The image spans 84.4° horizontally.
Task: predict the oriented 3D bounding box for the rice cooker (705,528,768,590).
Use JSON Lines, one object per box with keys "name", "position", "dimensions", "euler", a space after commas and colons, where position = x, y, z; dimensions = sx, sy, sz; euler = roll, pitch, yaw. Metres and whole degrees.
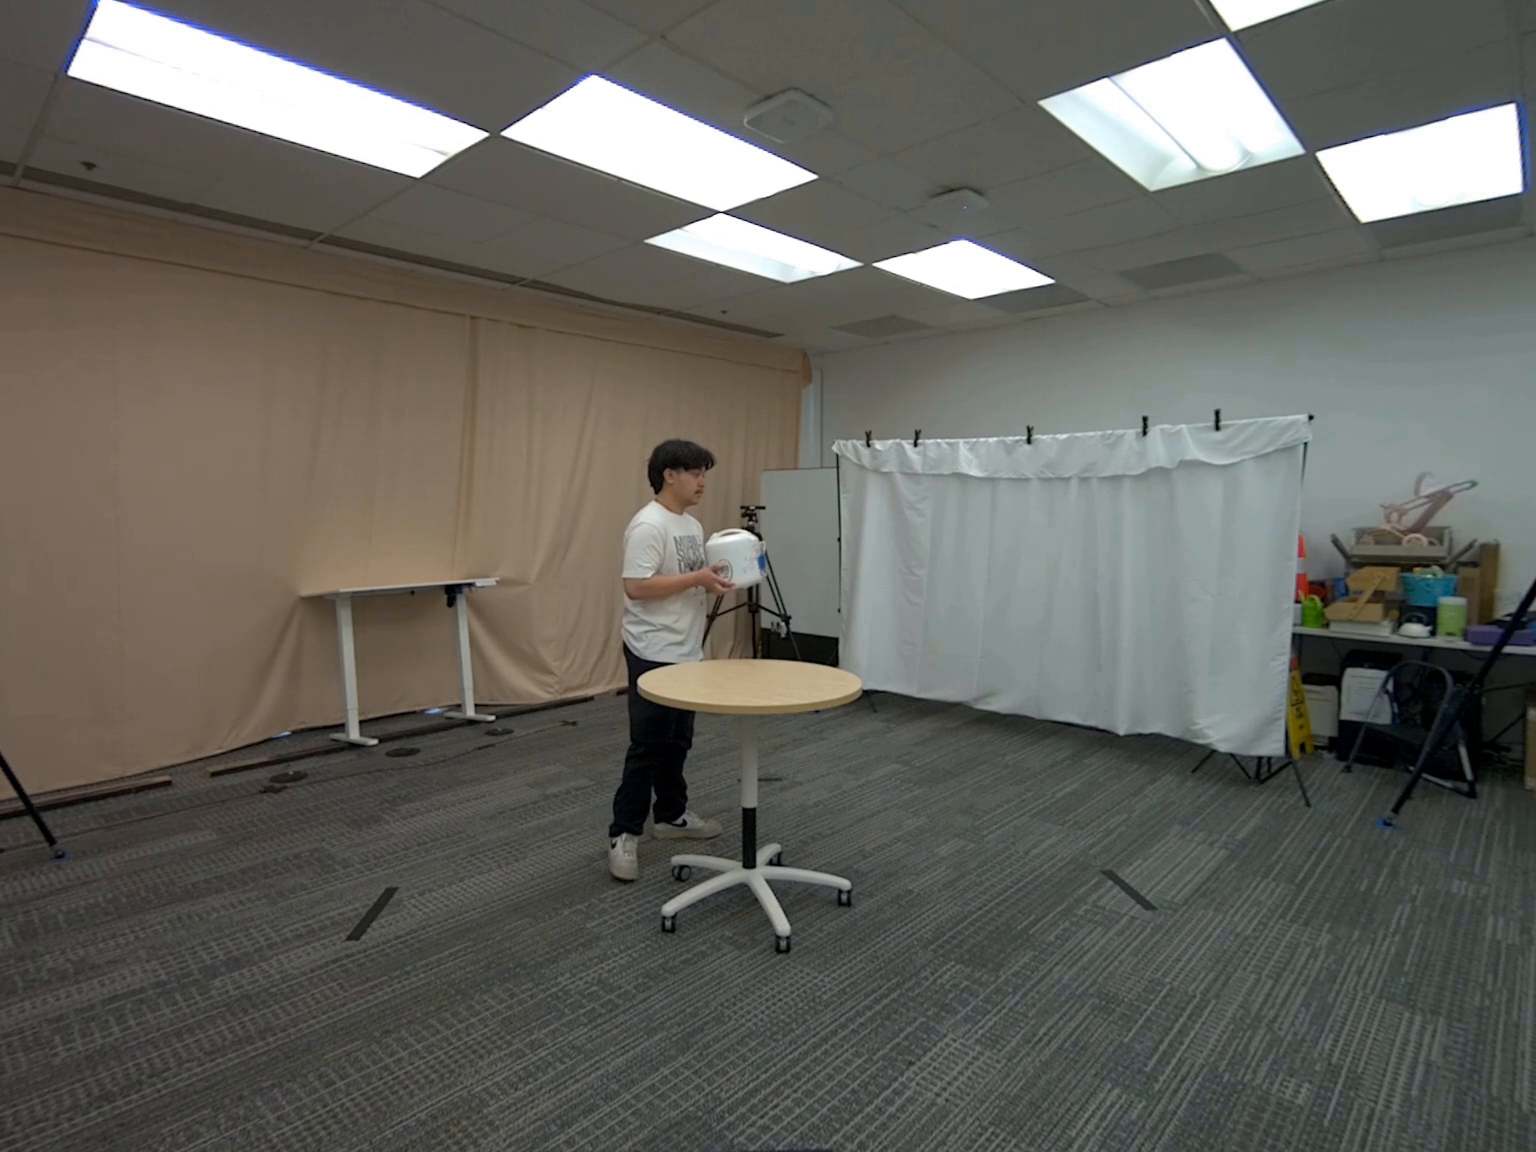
{"name": "rice cooker", "position": [-0.133, -0.074, 3.331], "dimensions": [0.225, 0.232, 0.213], "euler": [-9, 2, 21]}
